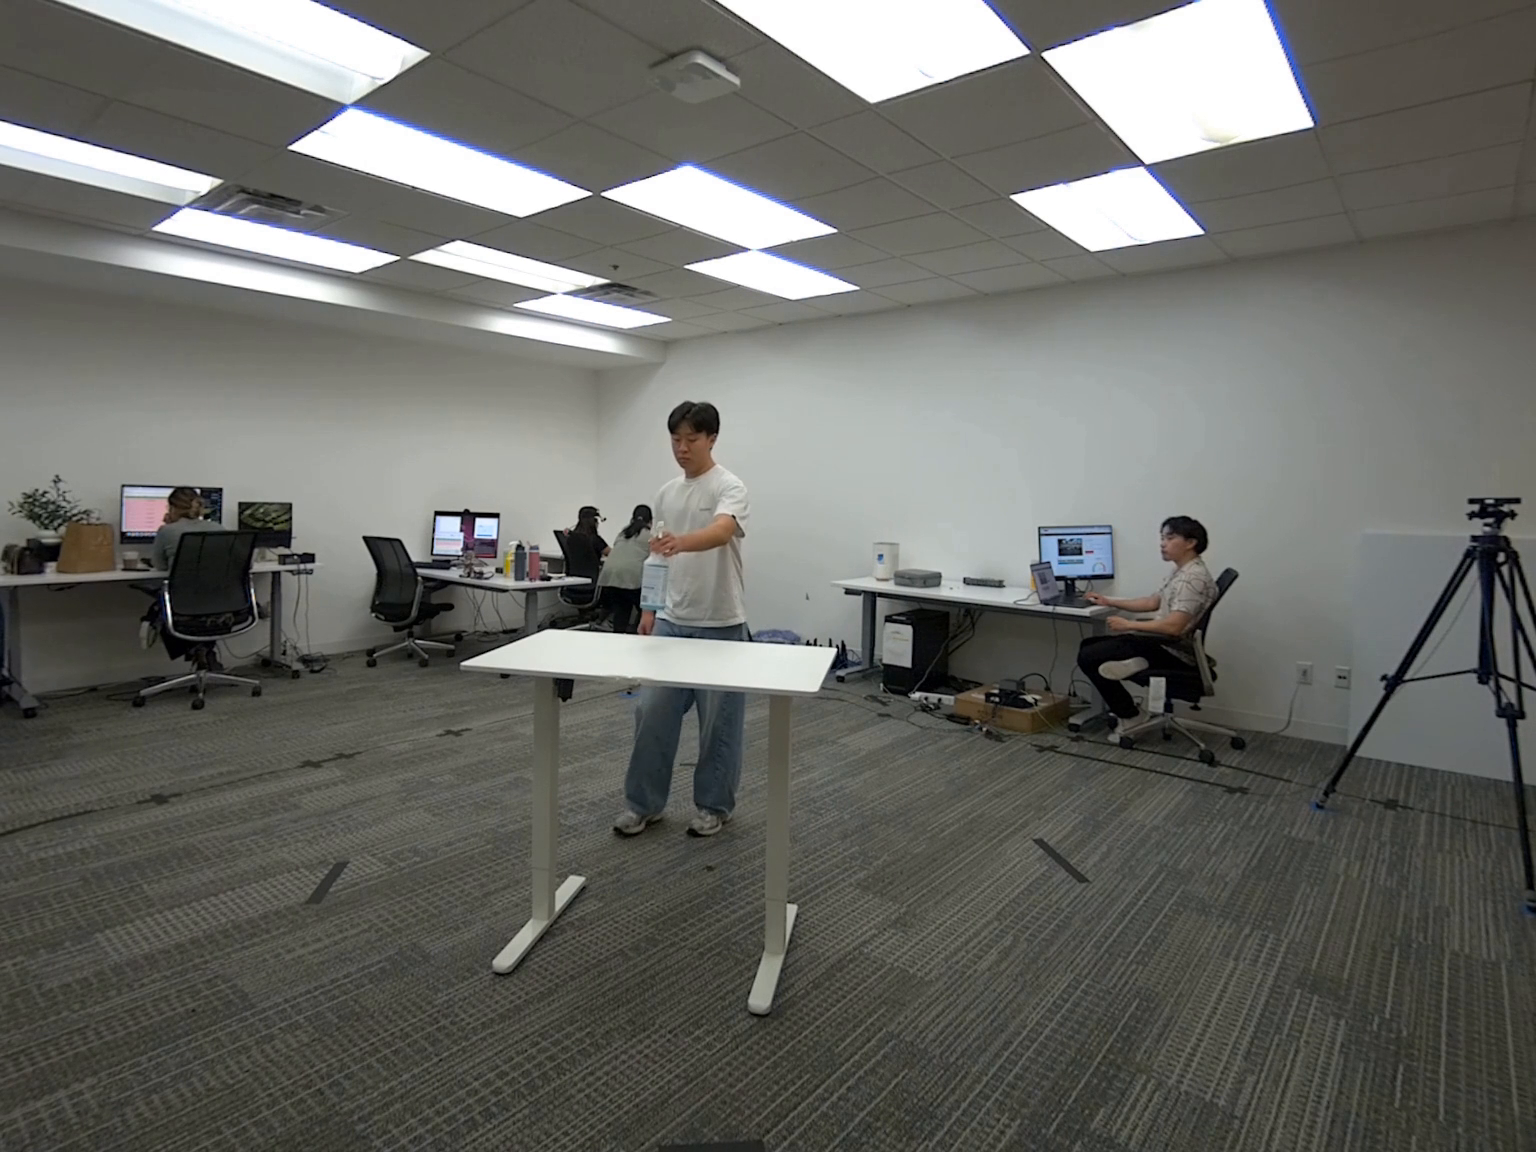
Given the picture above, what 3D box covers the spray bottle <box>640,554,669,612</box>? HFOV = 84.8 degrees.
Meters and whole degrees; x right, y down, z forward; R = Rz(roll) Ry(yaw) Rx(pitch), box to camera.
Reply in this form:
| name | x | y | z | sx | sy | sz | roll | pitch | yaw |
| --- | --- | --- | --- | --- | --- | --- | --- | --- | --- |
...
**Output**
| name | x | y | z | sx | sy | sz | roll | pitch | yaw |
| --- | --- | --- | --- | --- | --- | --- | --- | --- | --- |
| spray bottle | -0.398 | -0.027 | 2.896 | 0.089 | 0.298 | 0.088 | 4 | -1 | 17 |
